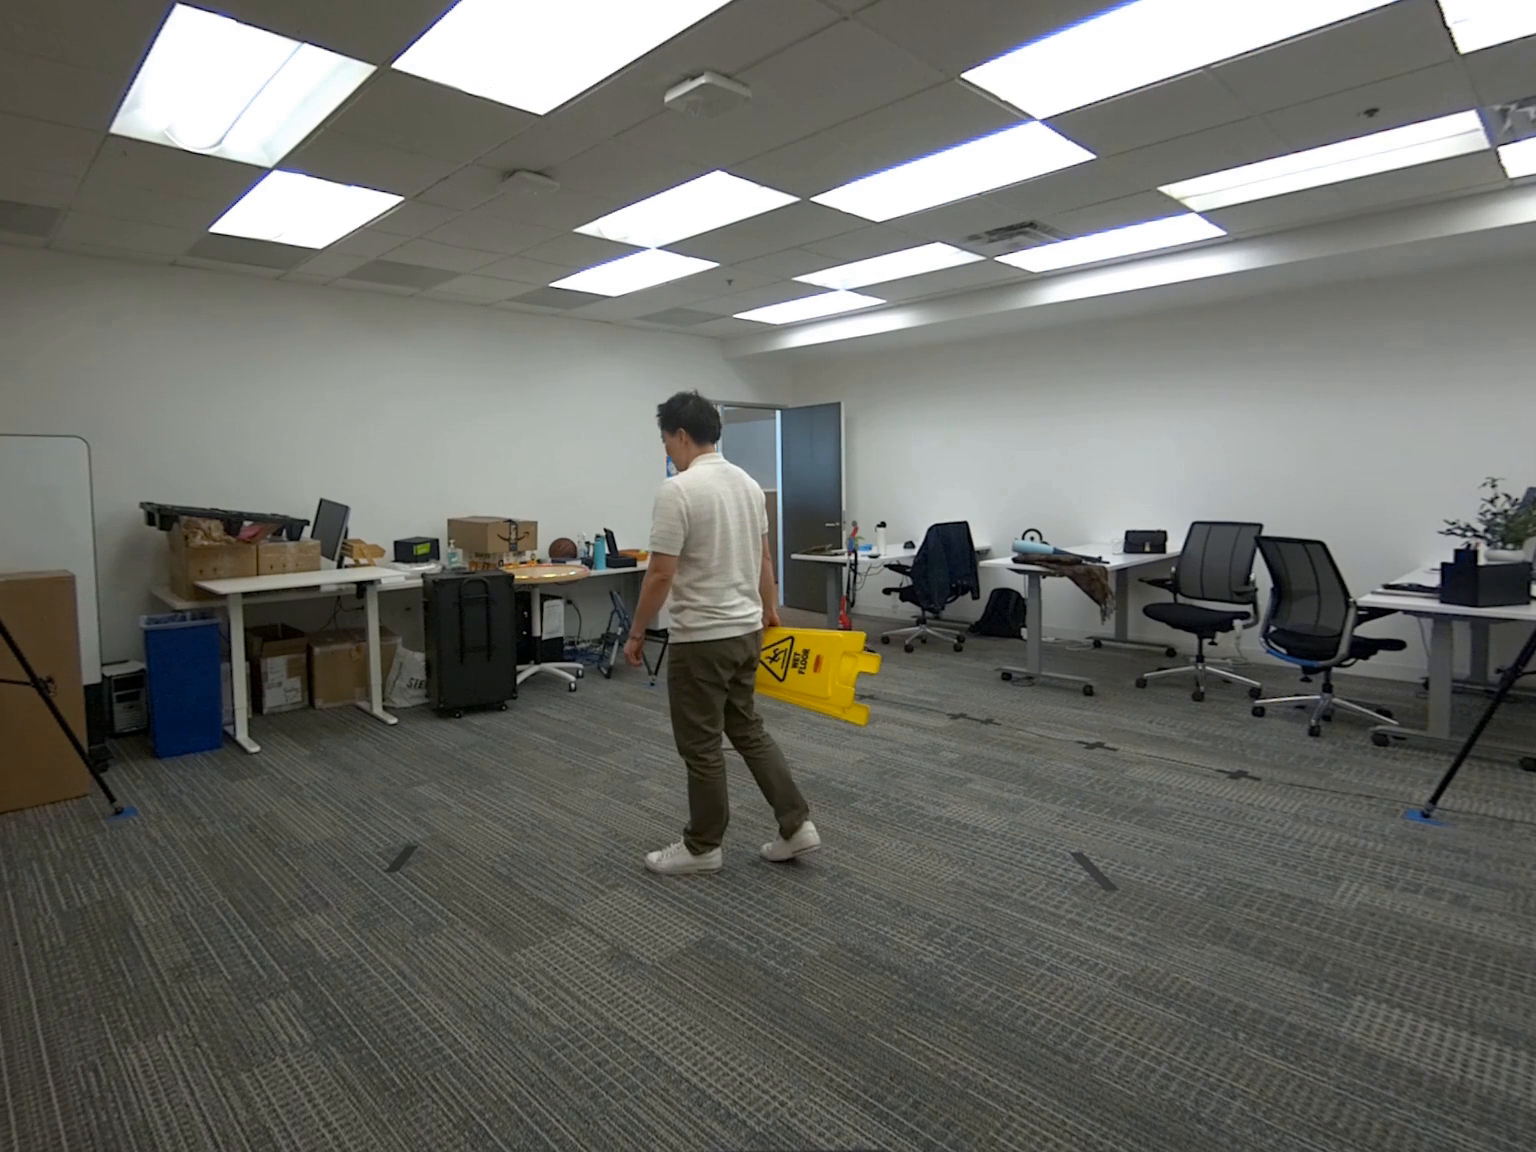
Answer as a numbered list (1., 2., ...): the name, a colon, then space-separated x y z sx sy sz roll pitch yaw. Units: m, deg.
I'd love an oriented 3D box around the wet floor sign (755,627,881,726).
1. wet floor sign: 0.068 0.345 3.293 0.662 0.285 0.280 9 -18 24
